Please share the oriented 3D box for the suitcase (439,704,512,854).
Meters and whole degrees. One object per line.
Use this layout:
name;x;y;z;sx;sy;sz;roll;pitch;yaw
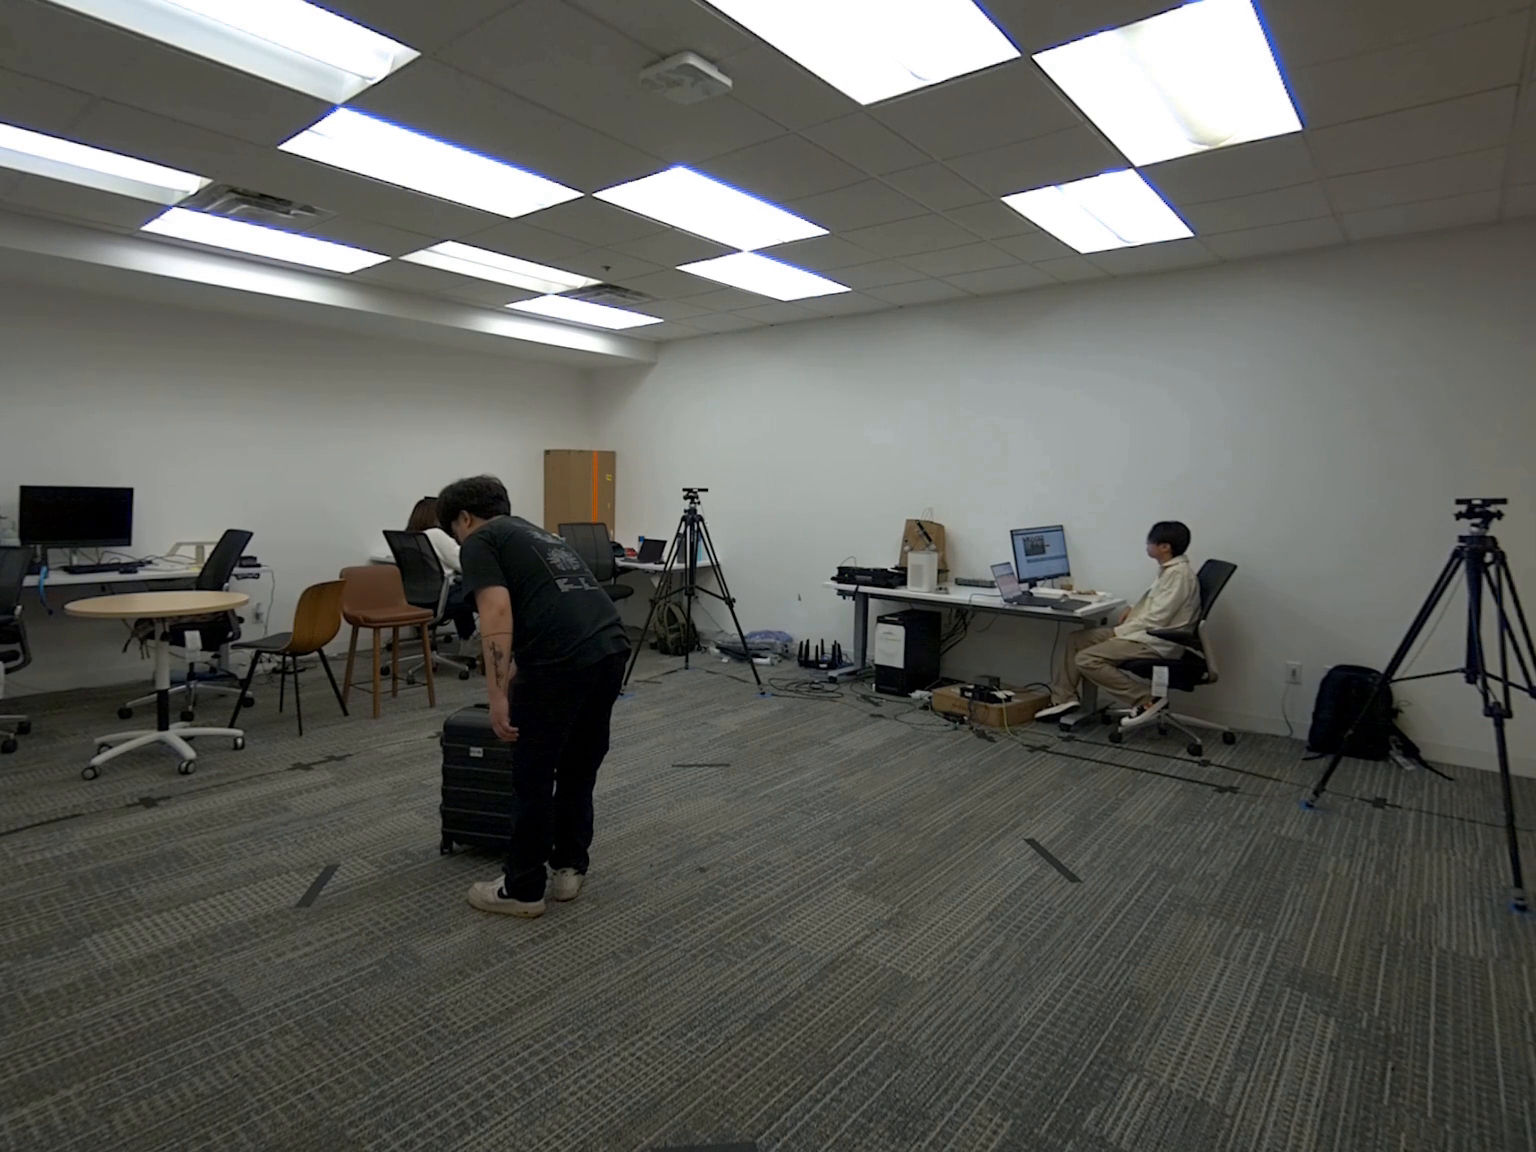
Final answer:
suitcase;-1.059;0.770;3.242;0.381;0.548;0.245;2;3;13
